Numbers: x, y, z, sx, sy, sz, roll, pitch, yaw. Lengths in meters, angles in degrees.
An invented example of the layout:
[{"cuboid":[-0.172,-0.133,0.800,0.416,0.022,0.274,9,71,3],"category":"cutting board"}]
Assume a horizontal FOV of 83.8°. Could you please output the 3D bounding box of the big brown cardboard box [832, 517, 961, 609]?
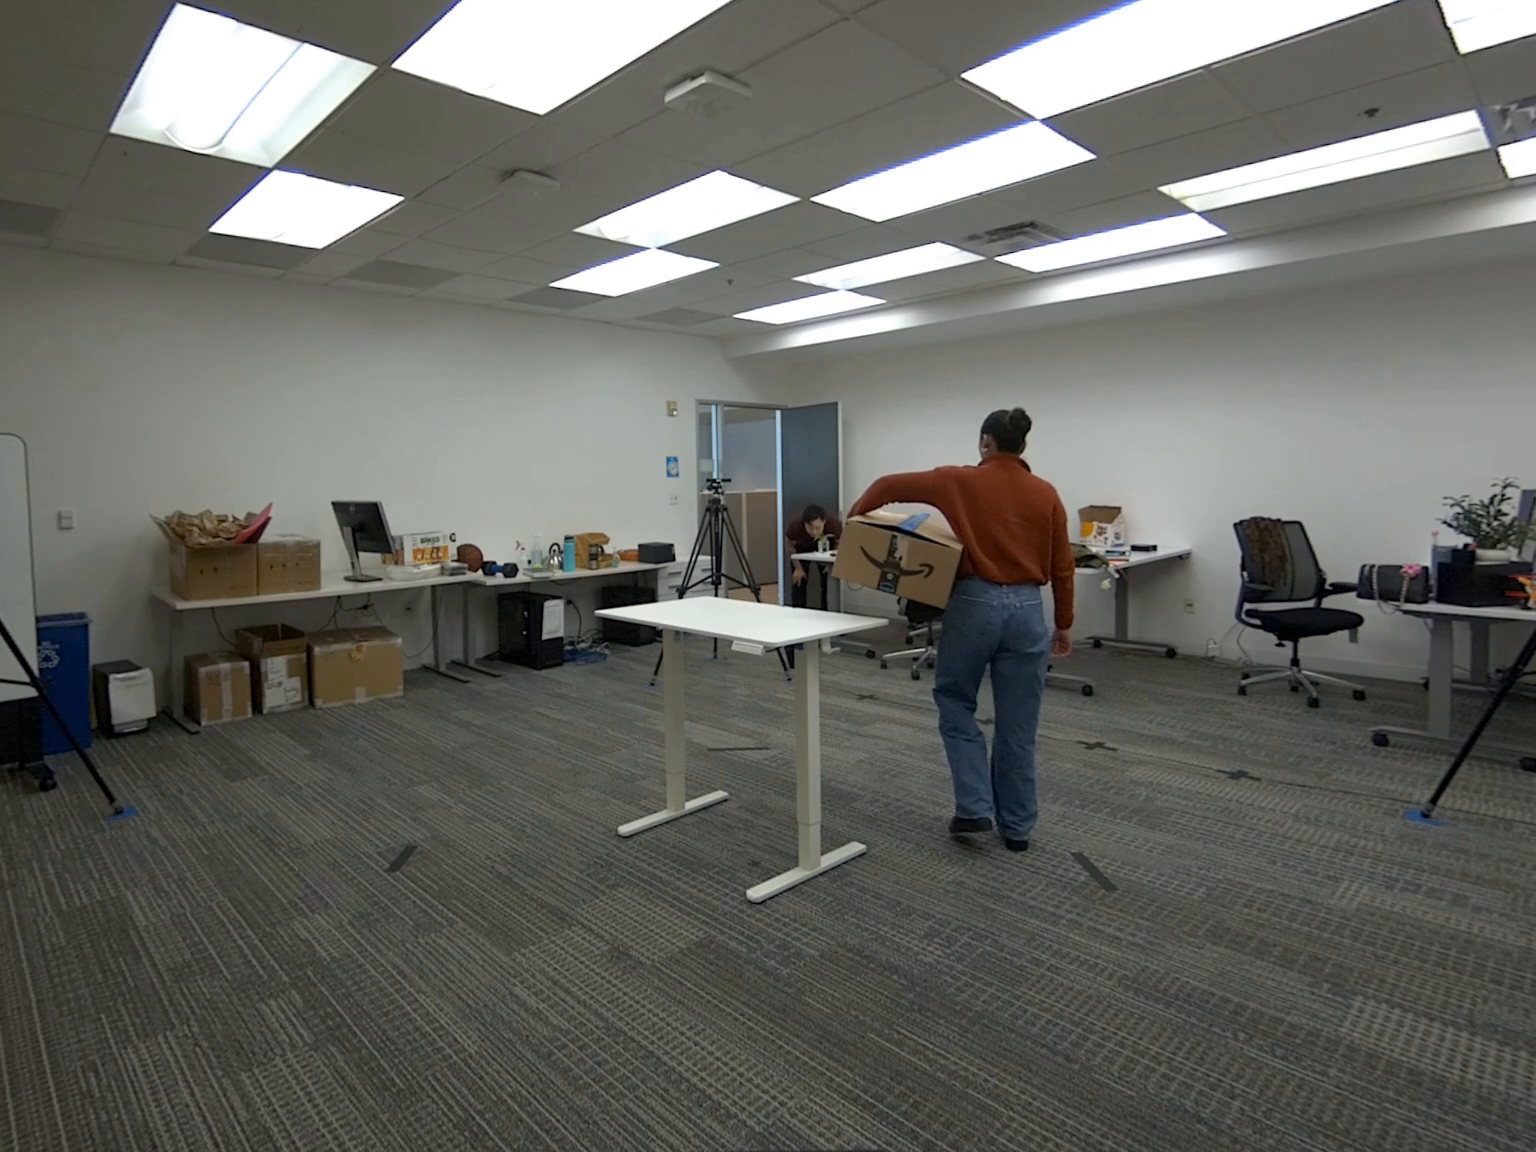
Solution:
[{"cuboid":[0.530,-0.089,3.289,0.424,0.231,0.585,14,13,11],"category":"big brown cardboard box"}]
